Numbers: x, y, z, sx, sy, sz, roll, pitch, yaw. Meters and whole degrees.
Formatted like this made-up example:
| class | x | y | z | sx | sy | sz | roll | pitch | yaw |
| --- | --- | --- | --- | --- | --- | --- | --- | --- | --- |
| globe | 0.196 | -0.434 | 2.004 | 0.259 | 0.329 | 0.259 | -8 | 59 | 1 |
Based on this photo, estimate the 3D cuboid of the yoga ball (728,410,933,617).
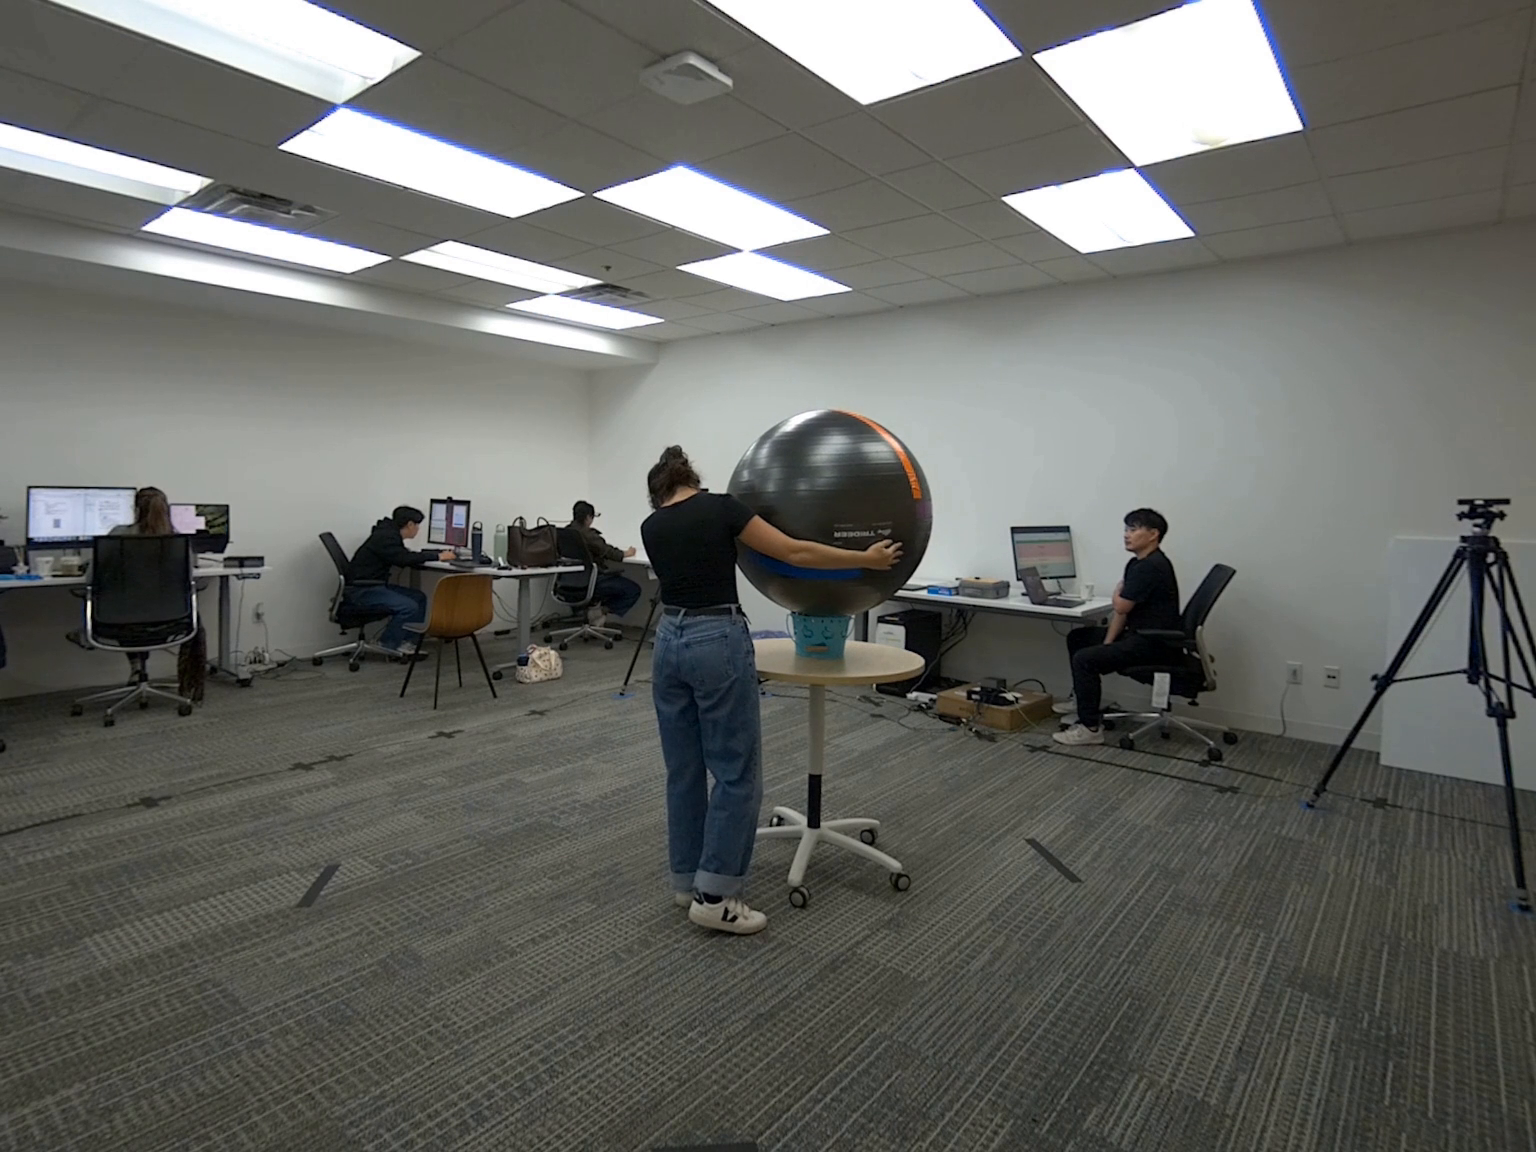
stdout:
| class | x | y | z | sx | sy | sz | roll | pitch | yaw |
| --- | --- | --- | --- | --- | --- | --- | --- | --- | --- |
| yoga ball | 0.215 | -0.234 | 3.144 | 0.757 | 0.756 | 0.762 | 1 | 4 | -2 |
